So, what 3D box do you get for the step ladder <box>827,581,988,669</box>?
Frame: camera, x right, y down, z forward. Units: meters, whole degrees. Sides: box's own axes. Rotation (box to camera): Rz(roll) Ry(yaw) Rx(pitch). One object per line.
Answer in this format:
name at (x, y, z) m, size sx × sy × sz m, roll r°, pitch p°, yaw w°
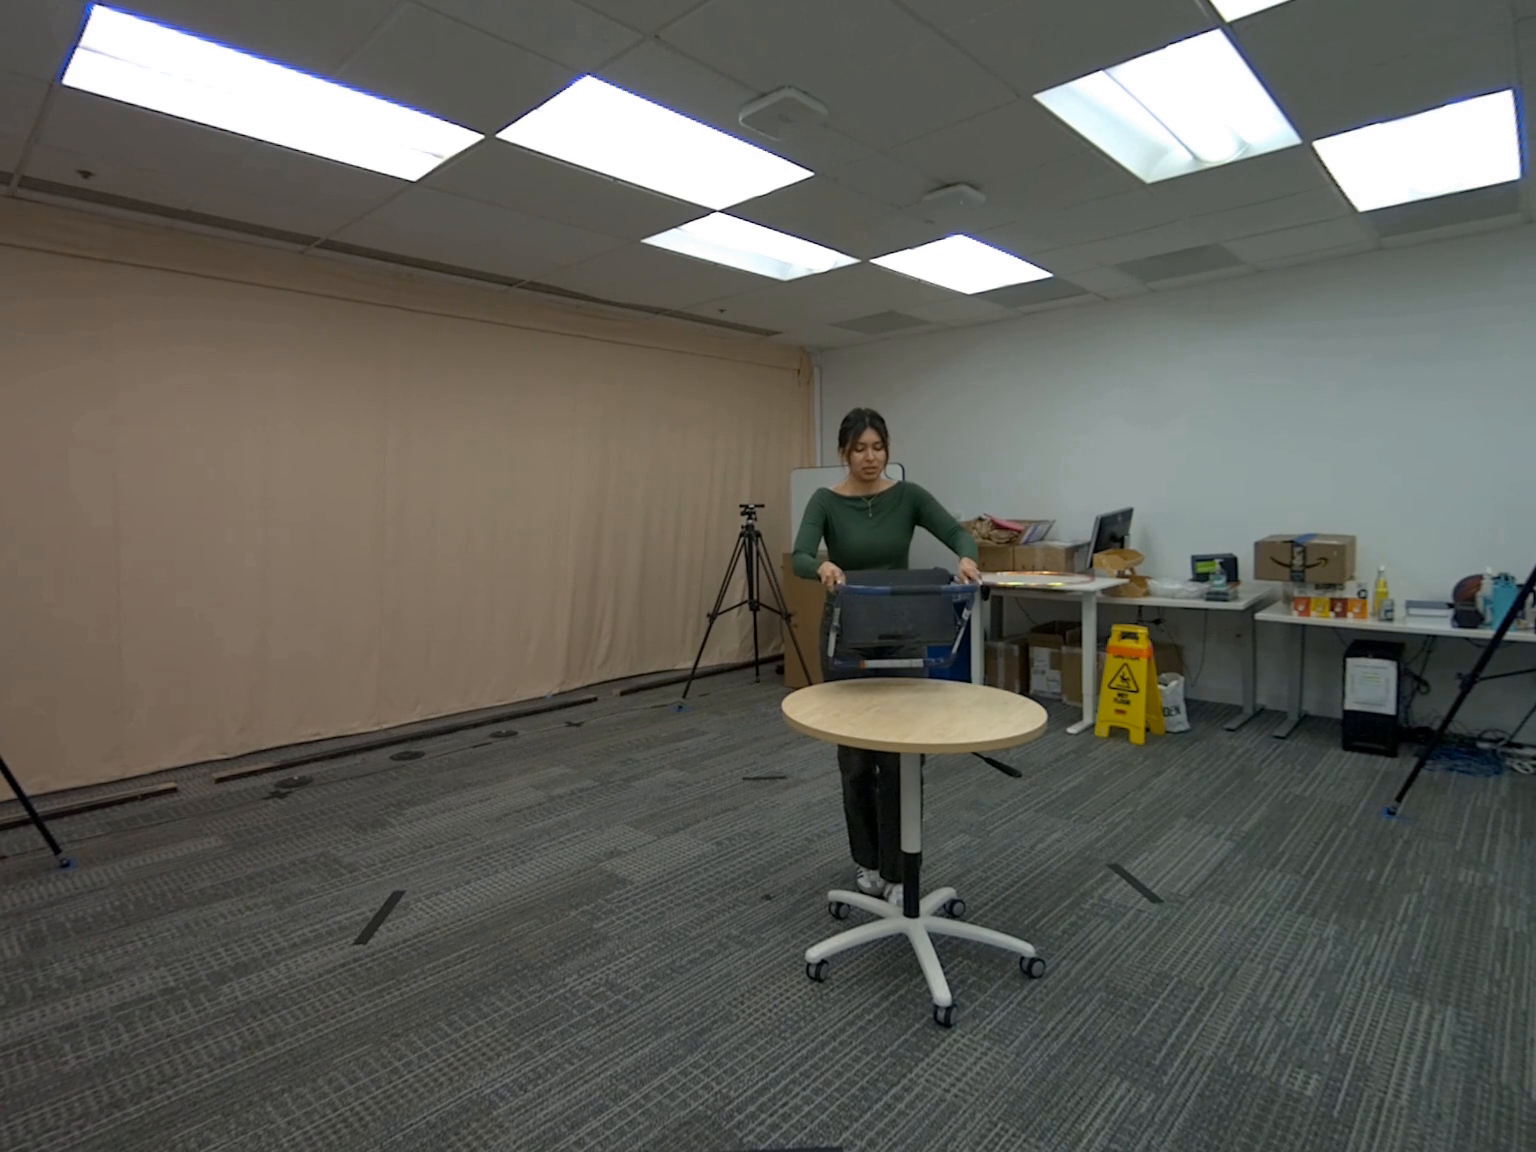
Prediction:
step ladder at (0.393, 0.063, 2.581) m, size 0.431 × 0.353 × 0.599 m, roll -1°, pitch -18°, yaw 0°
